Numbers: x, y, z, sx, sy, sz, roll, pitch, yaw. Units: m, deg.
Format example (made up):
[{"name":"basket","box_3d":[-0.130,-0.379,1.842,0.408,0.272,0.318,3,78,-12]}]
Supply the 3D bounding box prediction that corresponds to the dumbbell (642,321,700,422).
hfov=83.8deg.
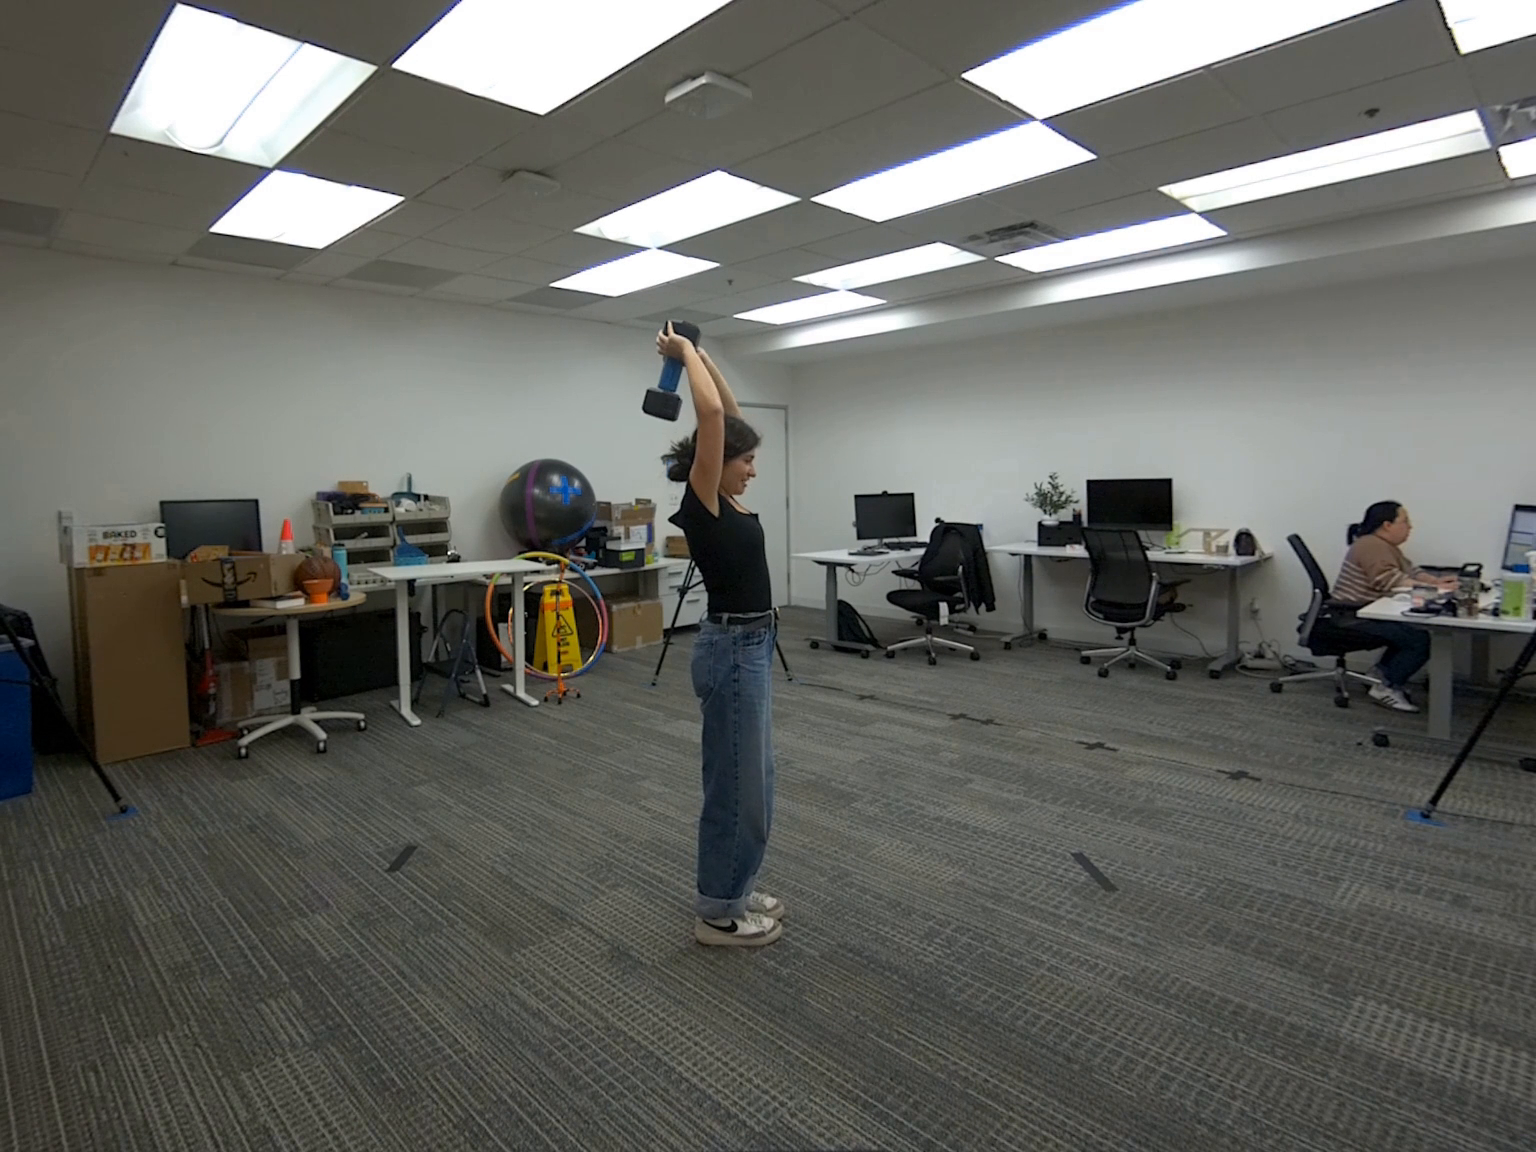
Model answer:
[{"name":"dumbbell","box_3d":[-0.292,-0.613,2.582,0.127,0.293,0.105,19,4,35]}]
